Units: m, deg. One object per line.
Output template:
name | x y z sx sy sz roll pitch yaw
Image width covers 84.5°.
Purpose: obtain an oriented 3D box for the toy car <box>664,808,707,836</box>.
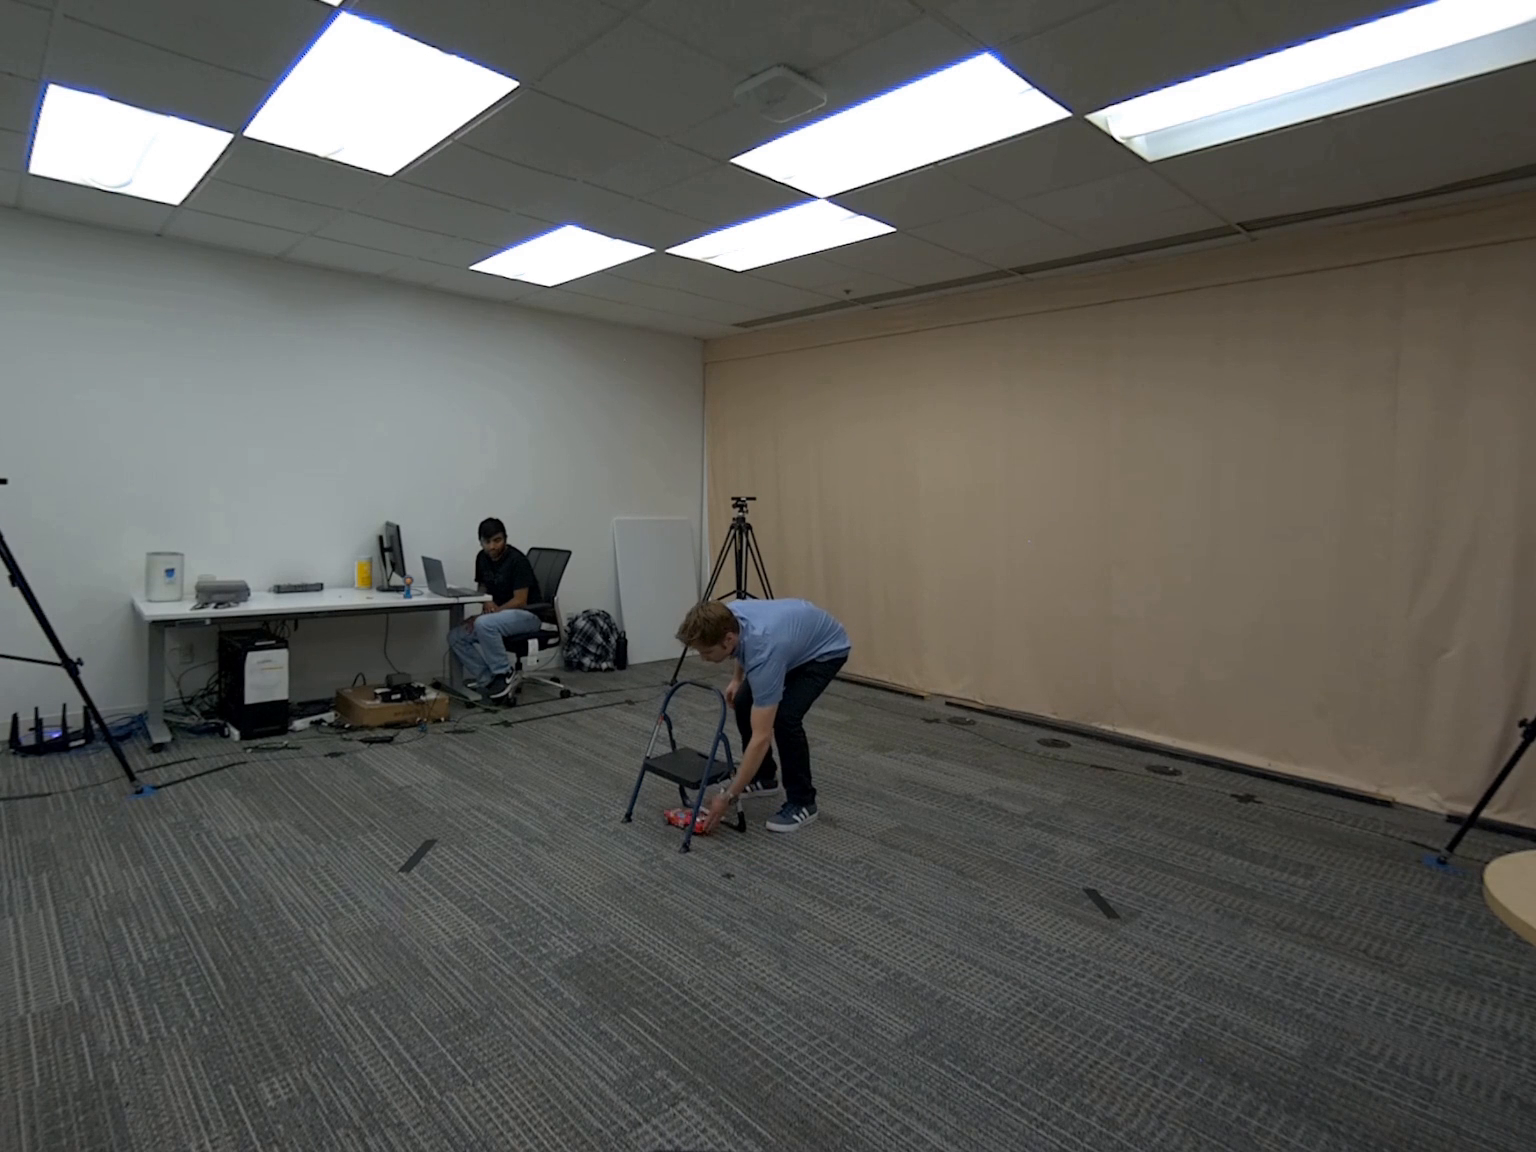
toy car | -0.339 1.037 3.550 0.127 0.083 0.260 -3 -4 -43
